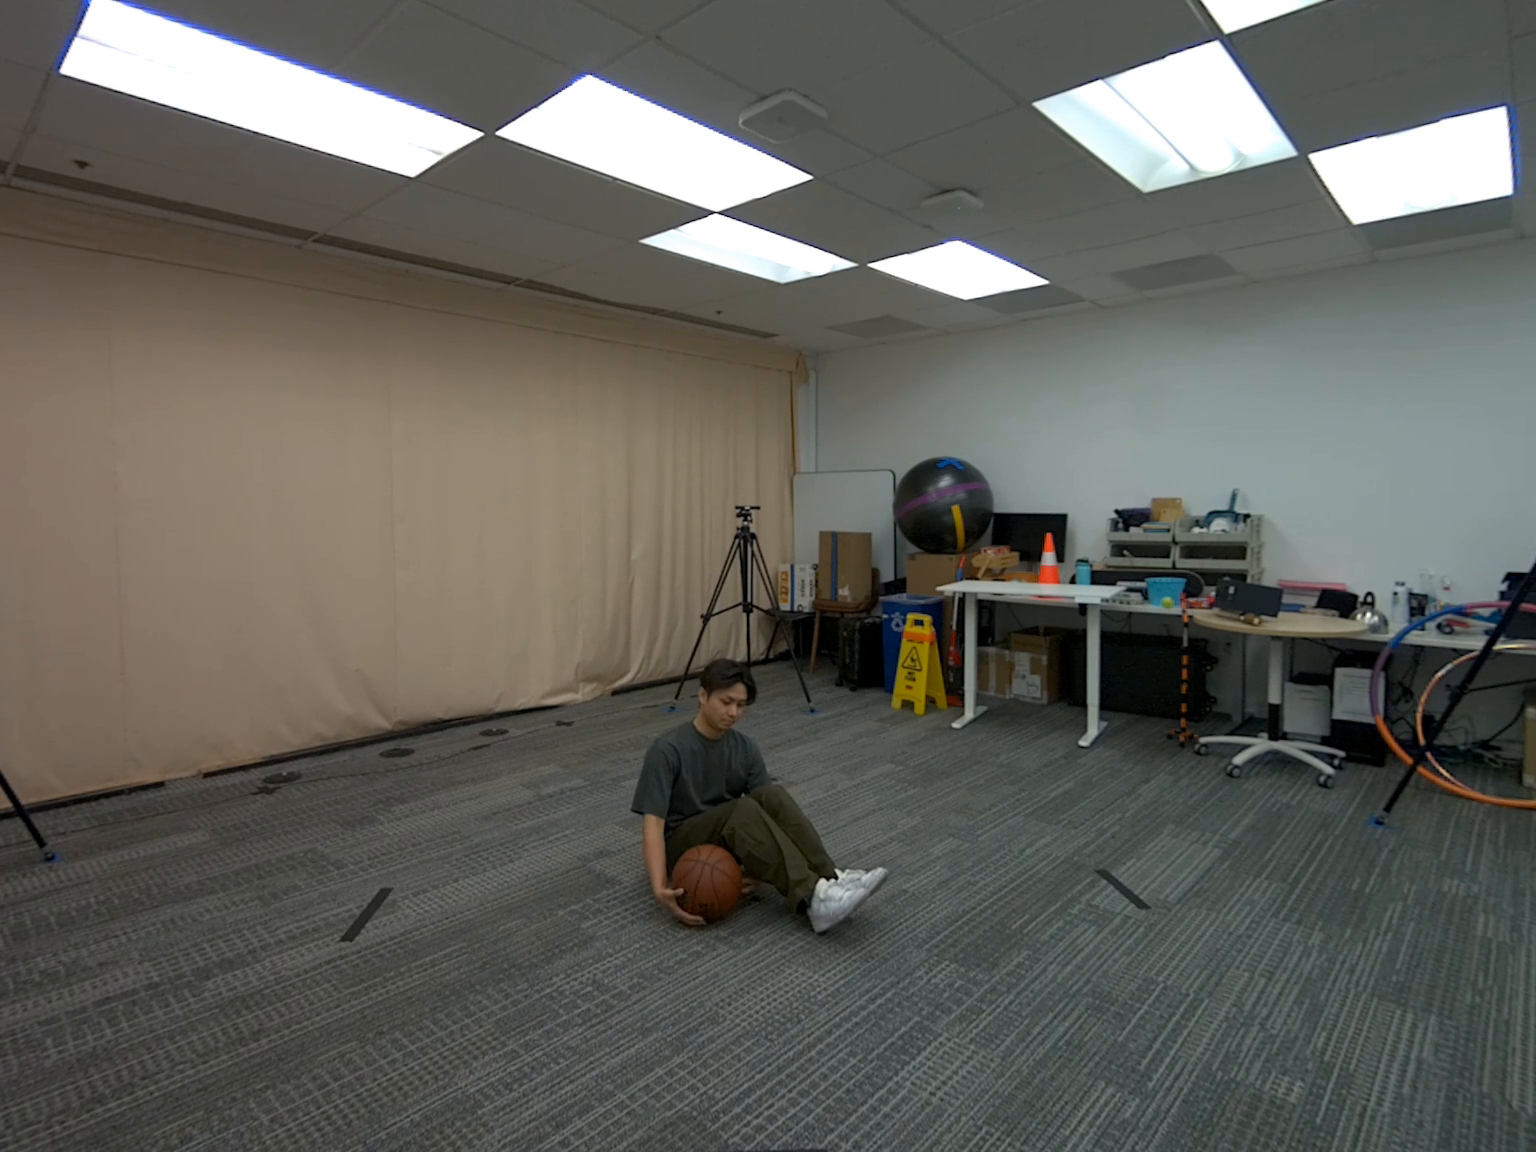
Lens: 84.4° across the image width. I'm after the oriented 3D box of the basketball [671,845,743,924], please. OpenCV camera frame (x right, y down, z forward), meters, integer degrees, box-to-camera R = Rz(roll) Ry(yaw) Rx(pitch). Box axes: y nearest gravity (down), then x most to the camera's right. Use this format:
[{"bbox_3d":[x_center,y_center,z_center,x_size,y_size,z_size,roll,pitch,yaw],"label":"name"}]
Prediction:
[{"bbox_3d":[-0.206,1.024,2.841,0.236,0.235,0.237,0,4,-2],"label":"basketball"}]
